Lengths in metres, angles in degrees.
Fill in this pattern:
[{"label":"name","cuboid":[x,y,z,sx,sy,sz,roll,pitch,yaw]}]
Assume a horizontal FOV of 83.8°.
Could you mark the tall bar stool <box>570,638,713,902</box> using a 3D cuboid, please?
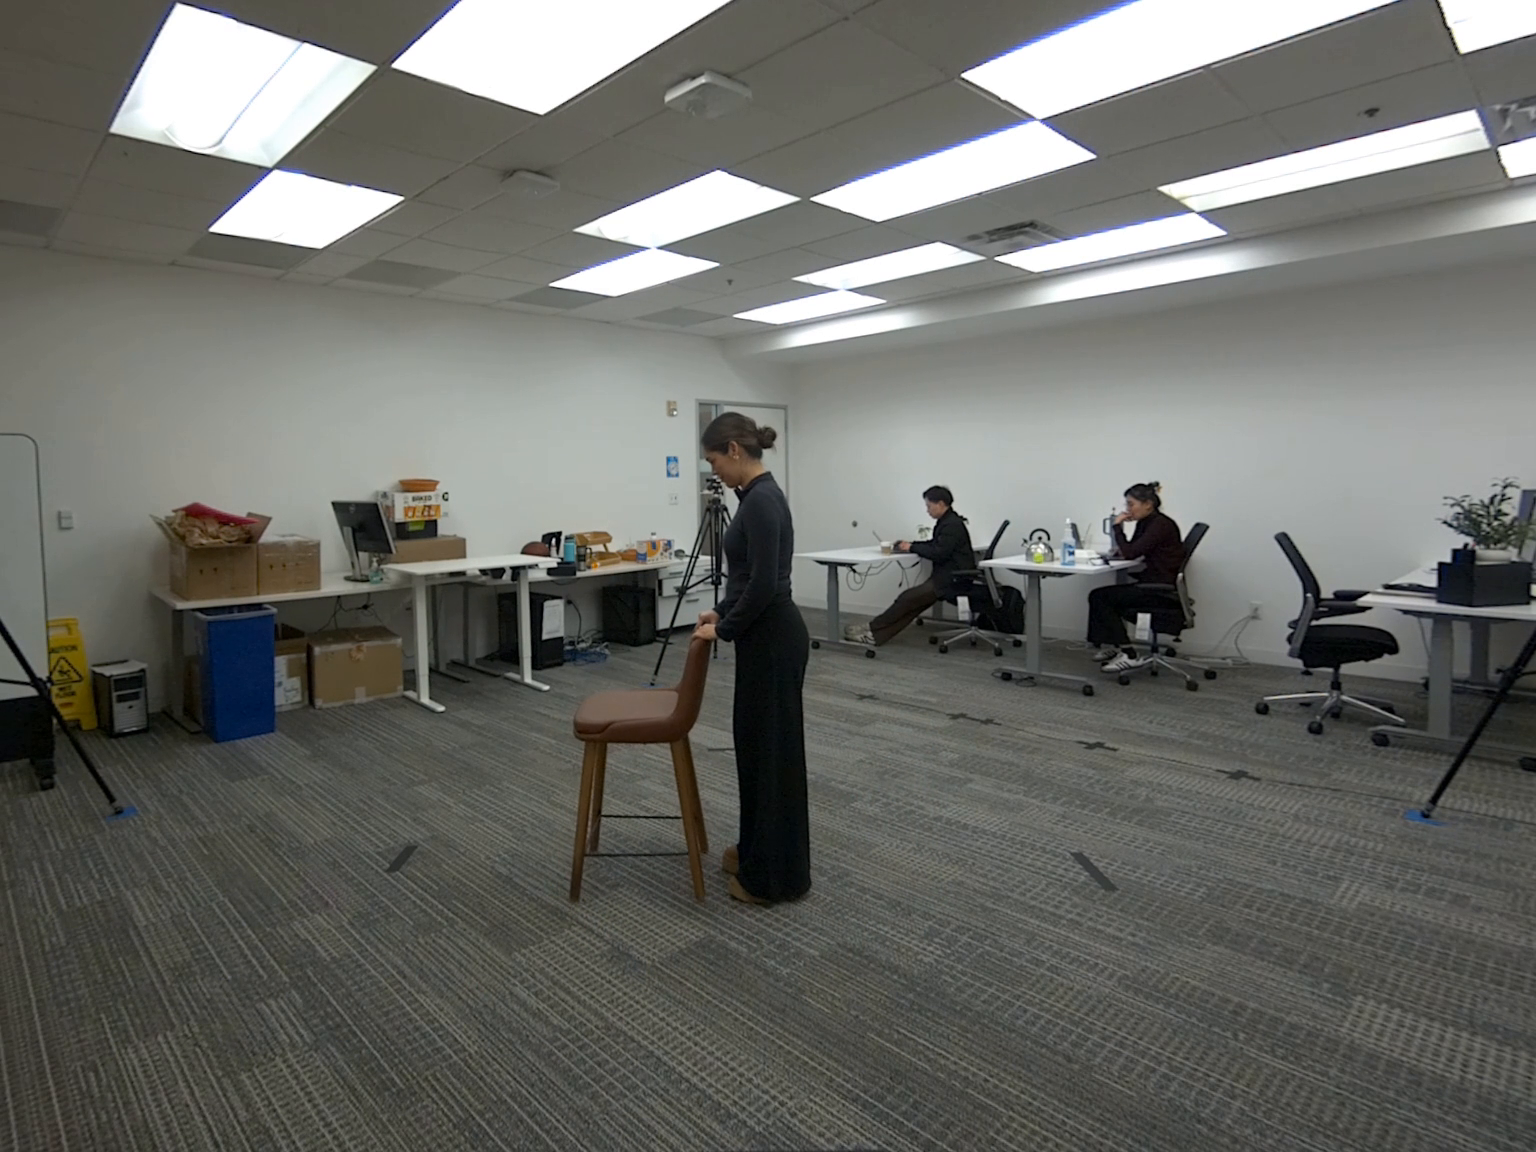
[{"label":"tall bar stool","cuboid":[-0.438,0.625,3.010,0.468,0.886,0.458,1,5,1]}]
